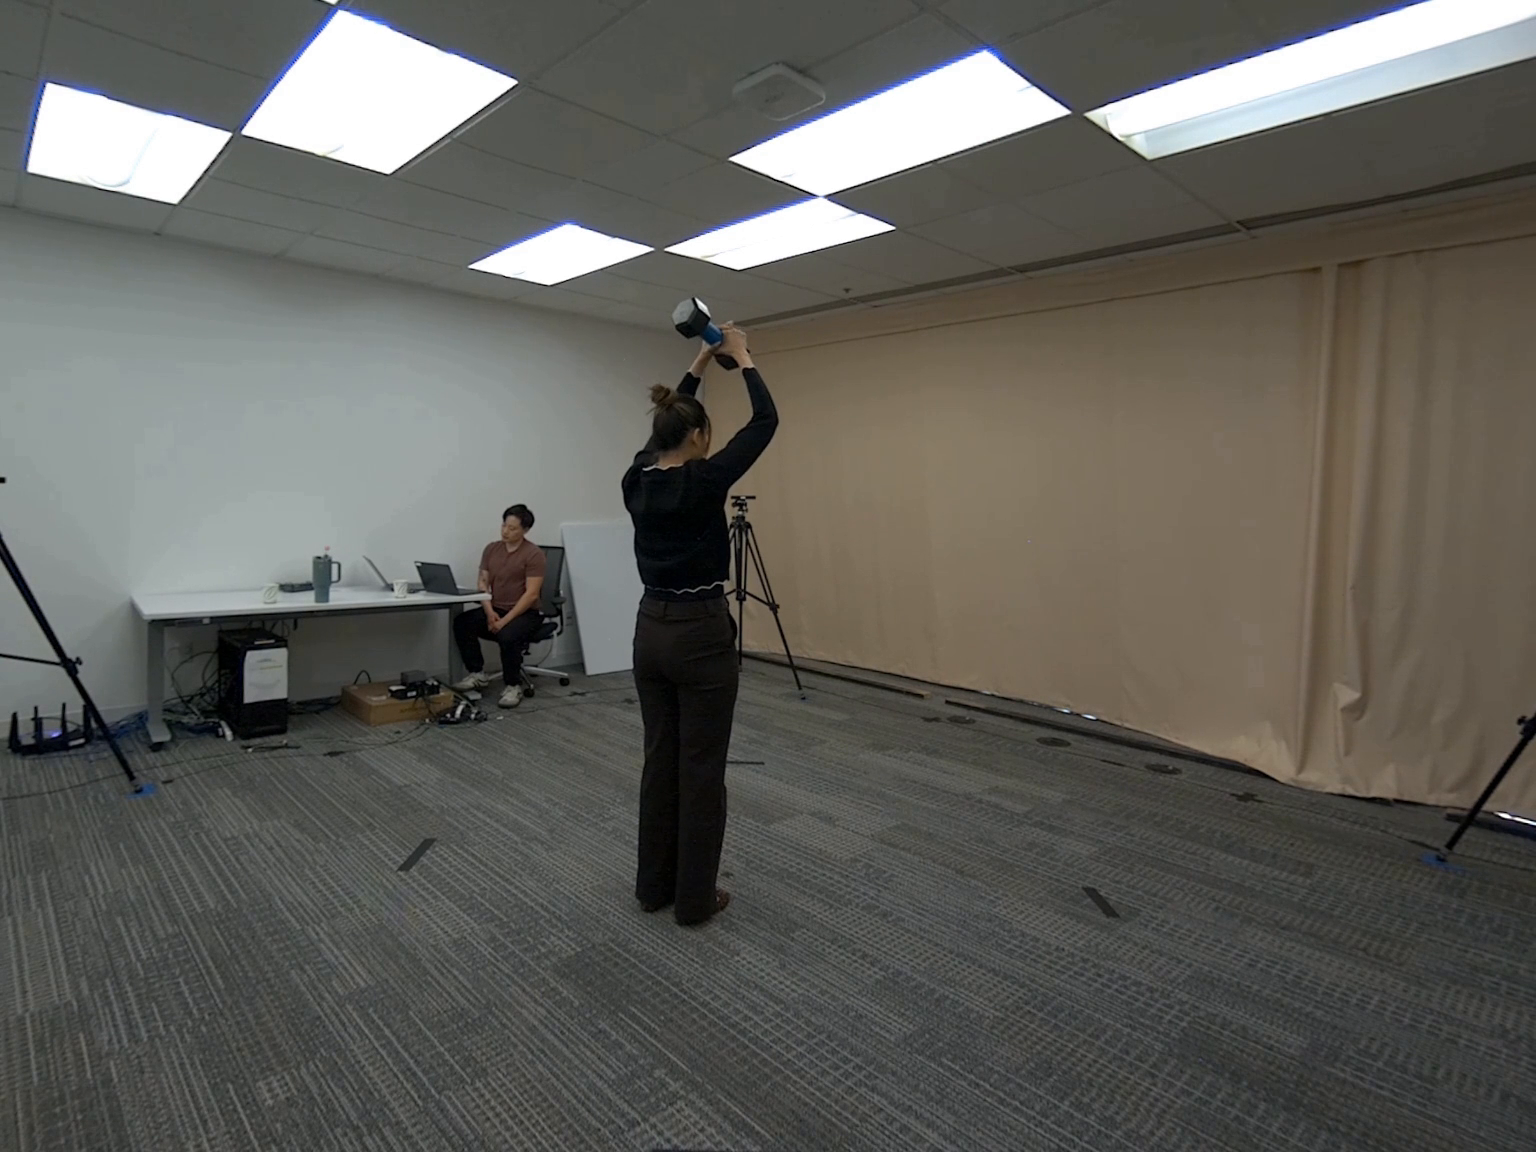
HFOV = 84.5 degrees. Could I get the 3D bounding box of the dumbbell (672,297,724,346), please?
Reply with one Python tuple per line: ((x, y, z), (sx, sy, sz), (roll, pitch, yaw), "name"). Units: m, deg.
((-0.202, -0.811, 2.825), (0.112, 0.123, 0.284), (32, 2, 44), "dumbbell")
